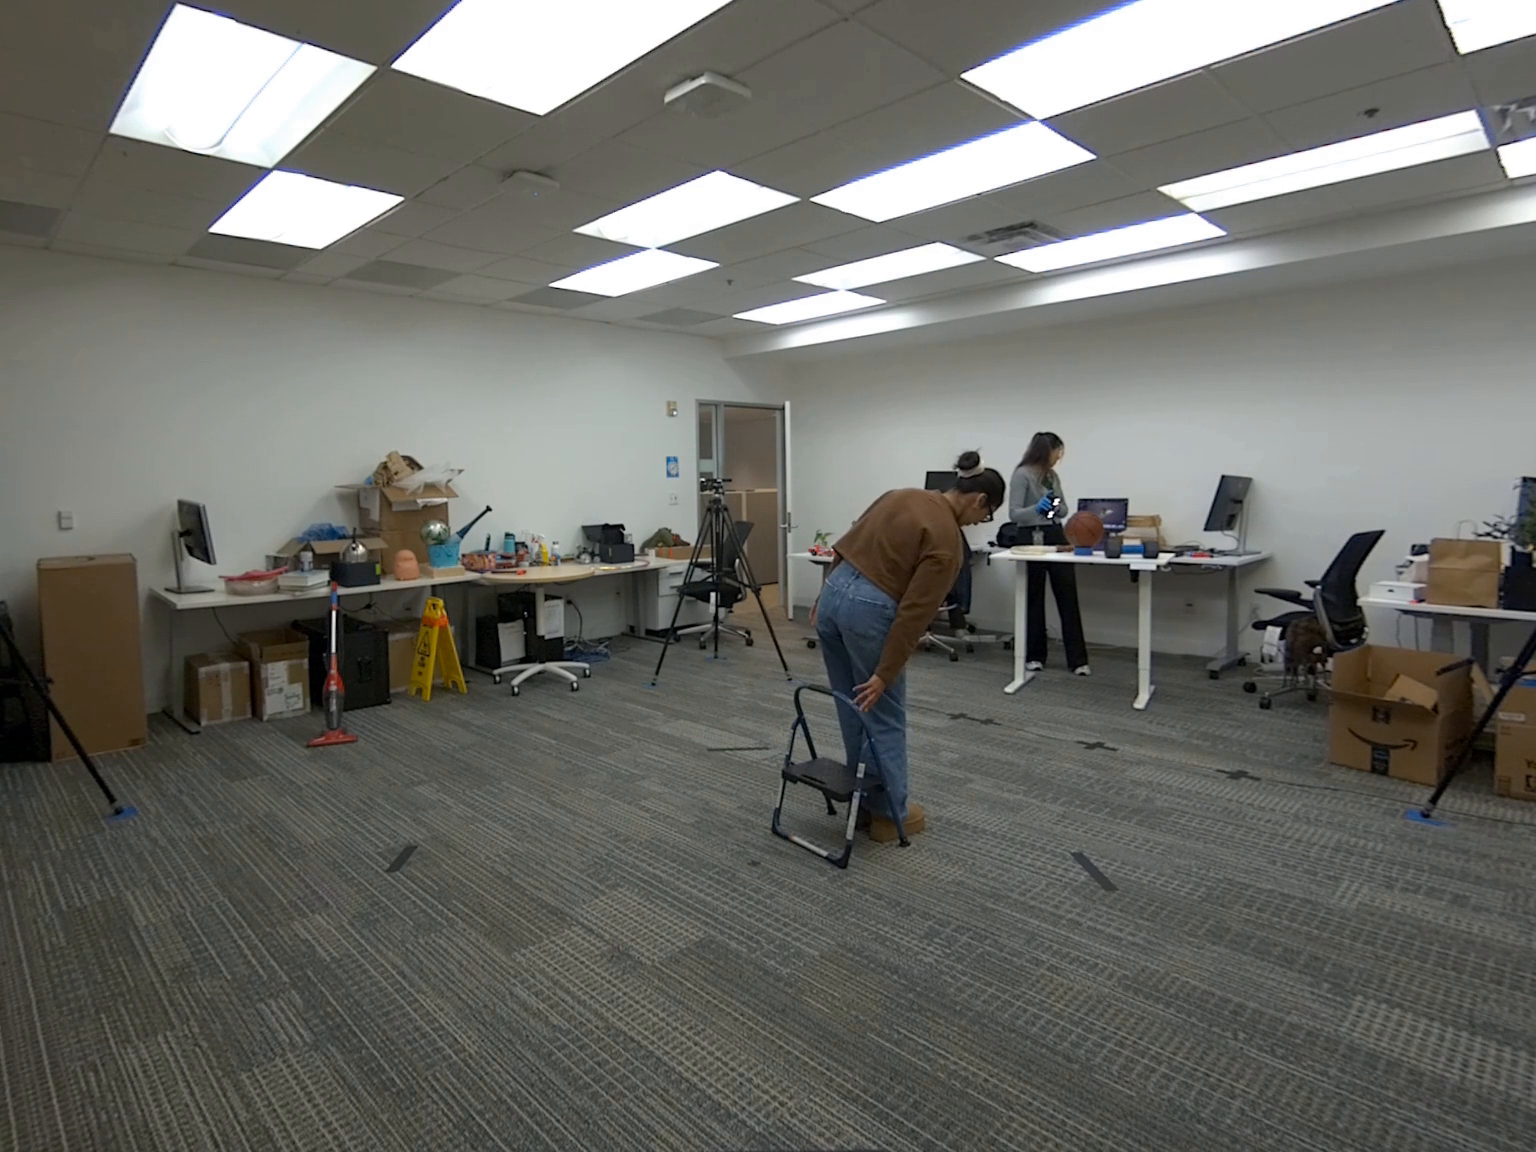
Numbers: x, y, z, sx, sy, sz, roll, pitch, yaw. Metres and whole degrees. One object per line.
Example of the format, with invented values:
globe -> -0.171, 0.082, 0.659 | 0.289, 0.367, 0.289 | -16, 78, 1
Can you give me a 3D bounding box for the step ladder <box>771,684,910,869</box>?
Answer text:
step ladder -> 0.266, 0.716, 3.284 | 0.340, 0.604, 0.443 | -5, 6, -39
